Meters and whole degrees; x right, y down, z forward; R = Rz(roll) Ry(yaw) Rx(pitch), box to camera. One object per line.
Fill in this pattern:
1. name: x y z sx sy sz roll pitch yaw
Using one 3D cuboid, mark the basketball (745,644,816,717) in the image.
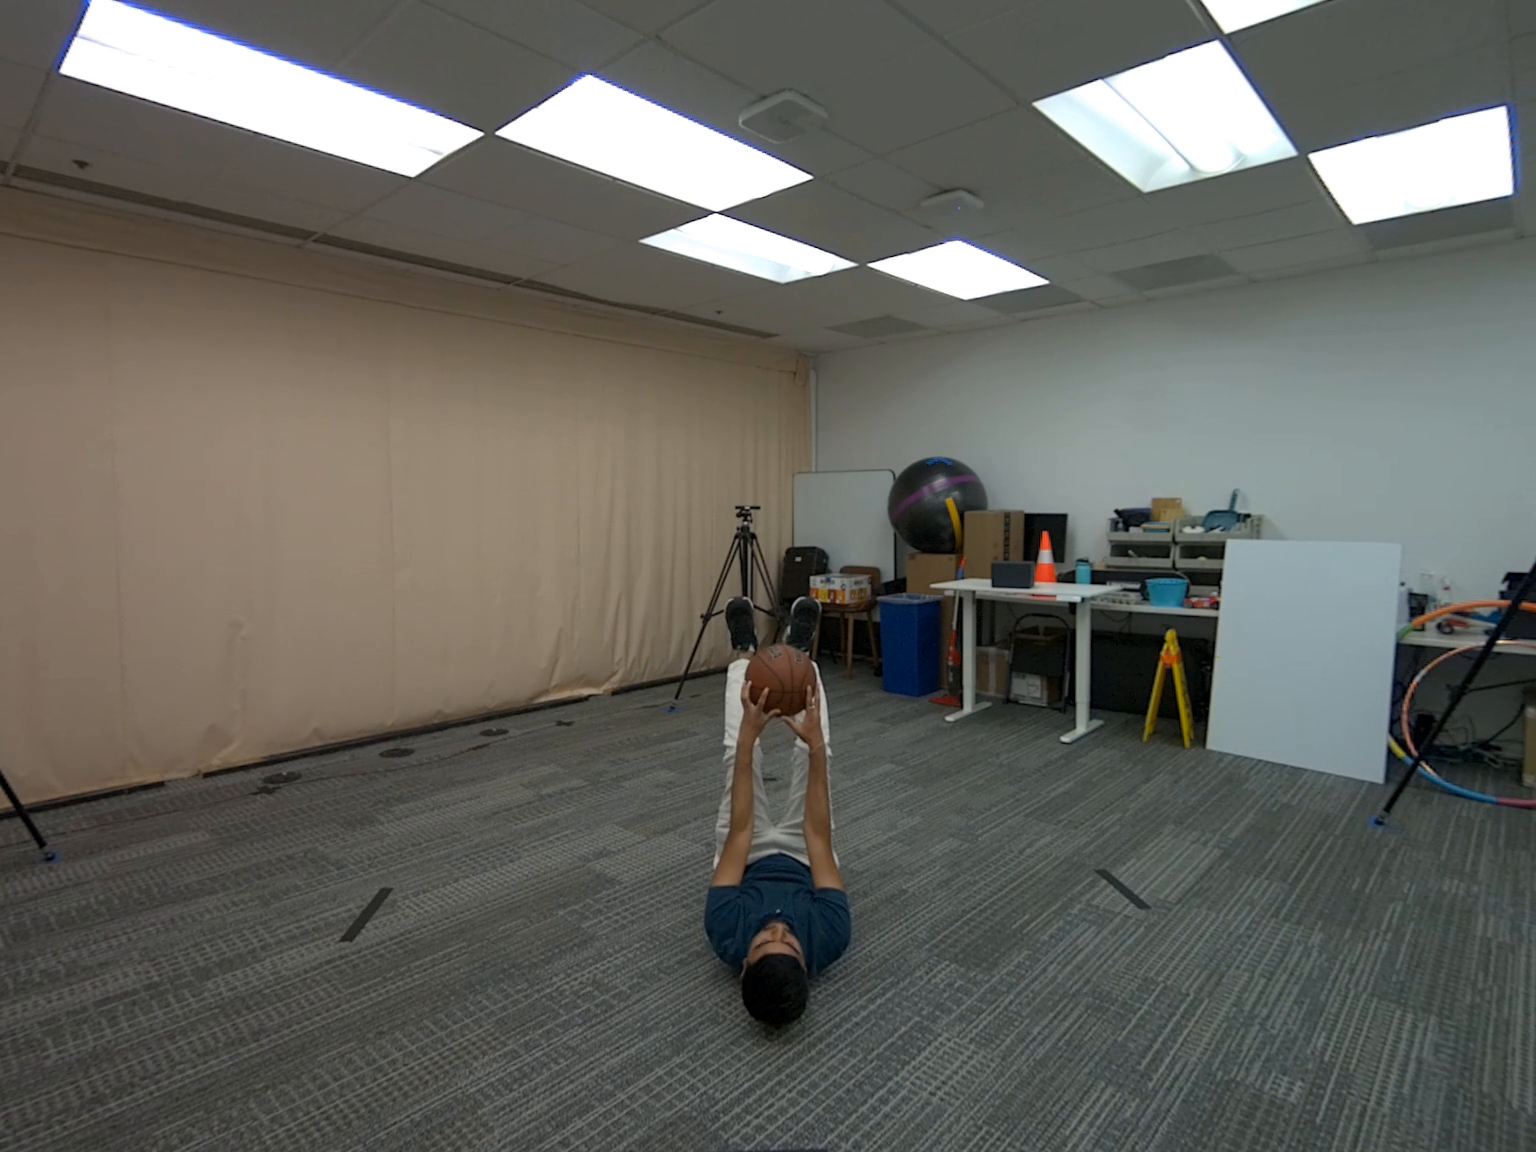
1. basketball: 0.039 0.344 2.754 0.236 0.235 0.237 0 4 -2
